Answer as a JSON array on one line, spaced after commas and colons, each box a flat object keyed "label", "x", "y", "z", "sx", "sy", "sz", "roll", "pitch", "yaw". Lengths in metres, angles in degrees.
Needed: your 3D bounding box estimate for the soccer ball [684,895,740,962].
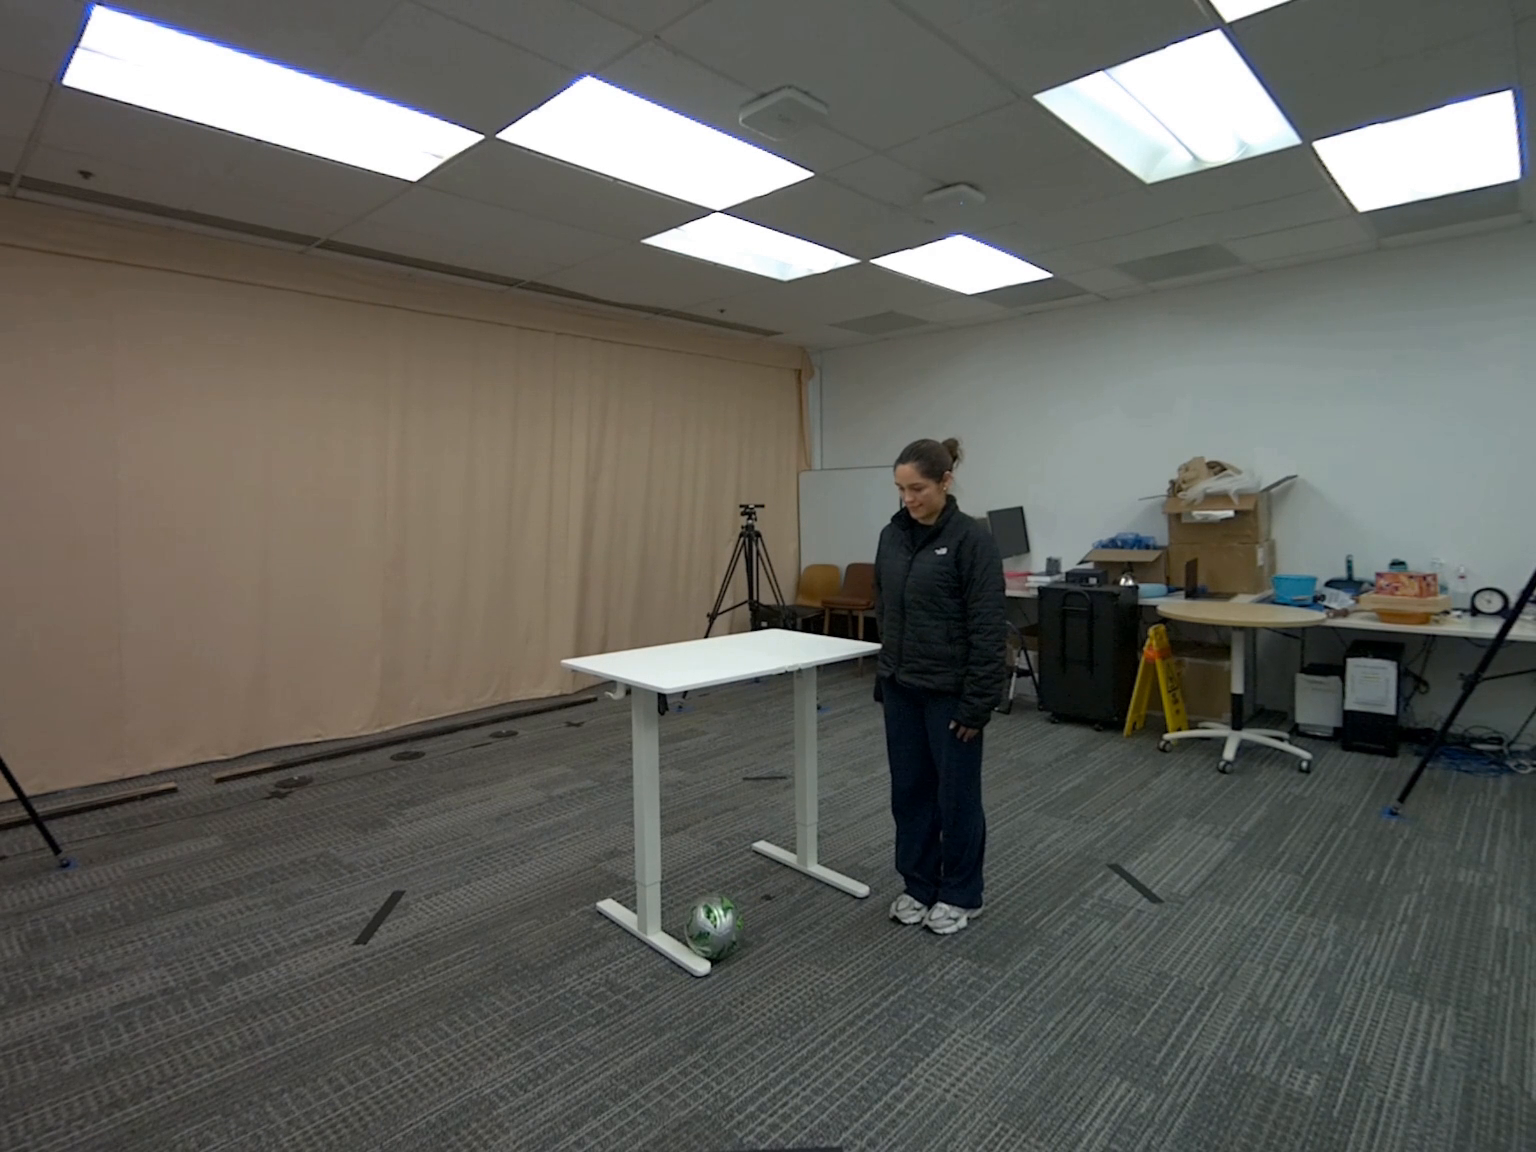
[{"label": "soccer ball", "x": -0.156, "y": 1.087, "z": 2.608, "sx": 0.187, "sy": 0.187, "sz": 0.188, "roll": -1, "pitch": 4, "yaw": -2}]
